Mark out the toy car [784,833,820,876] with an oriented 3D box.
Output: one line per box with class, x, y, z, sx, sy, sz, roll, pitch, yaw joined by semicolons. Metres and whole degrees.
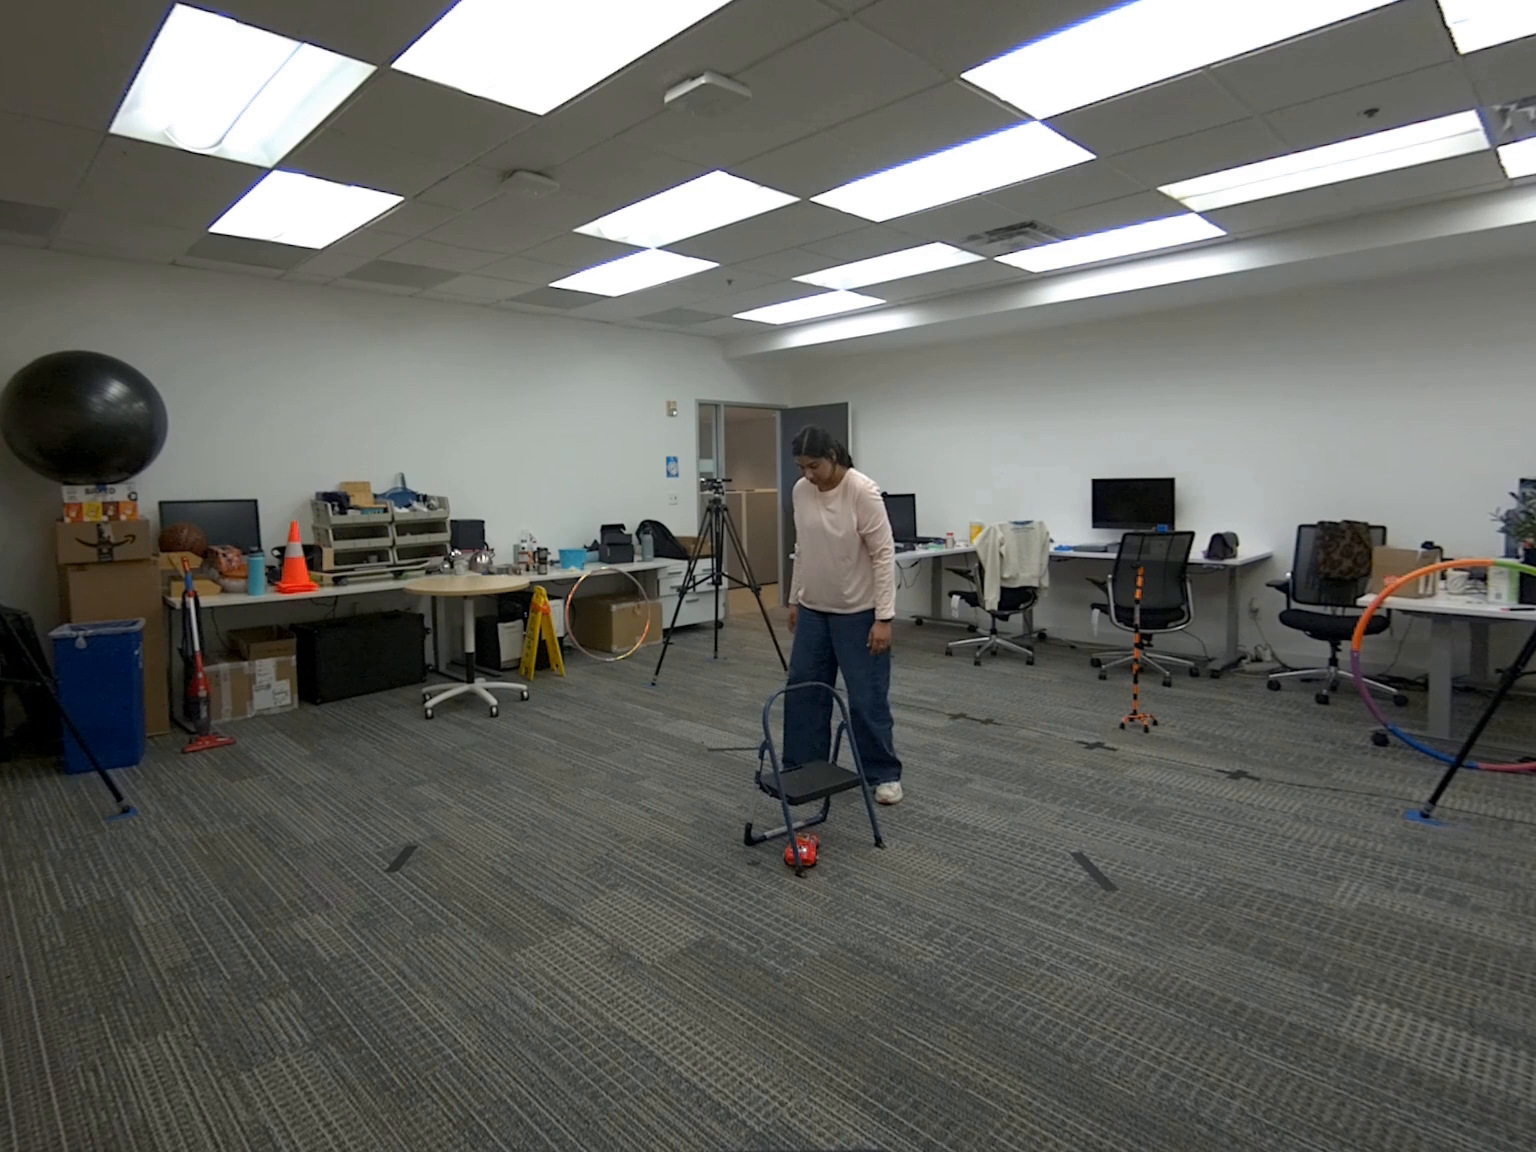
toy car;0.130;1.008;3.140;0.131;0.084;0.251;0;-6;8
